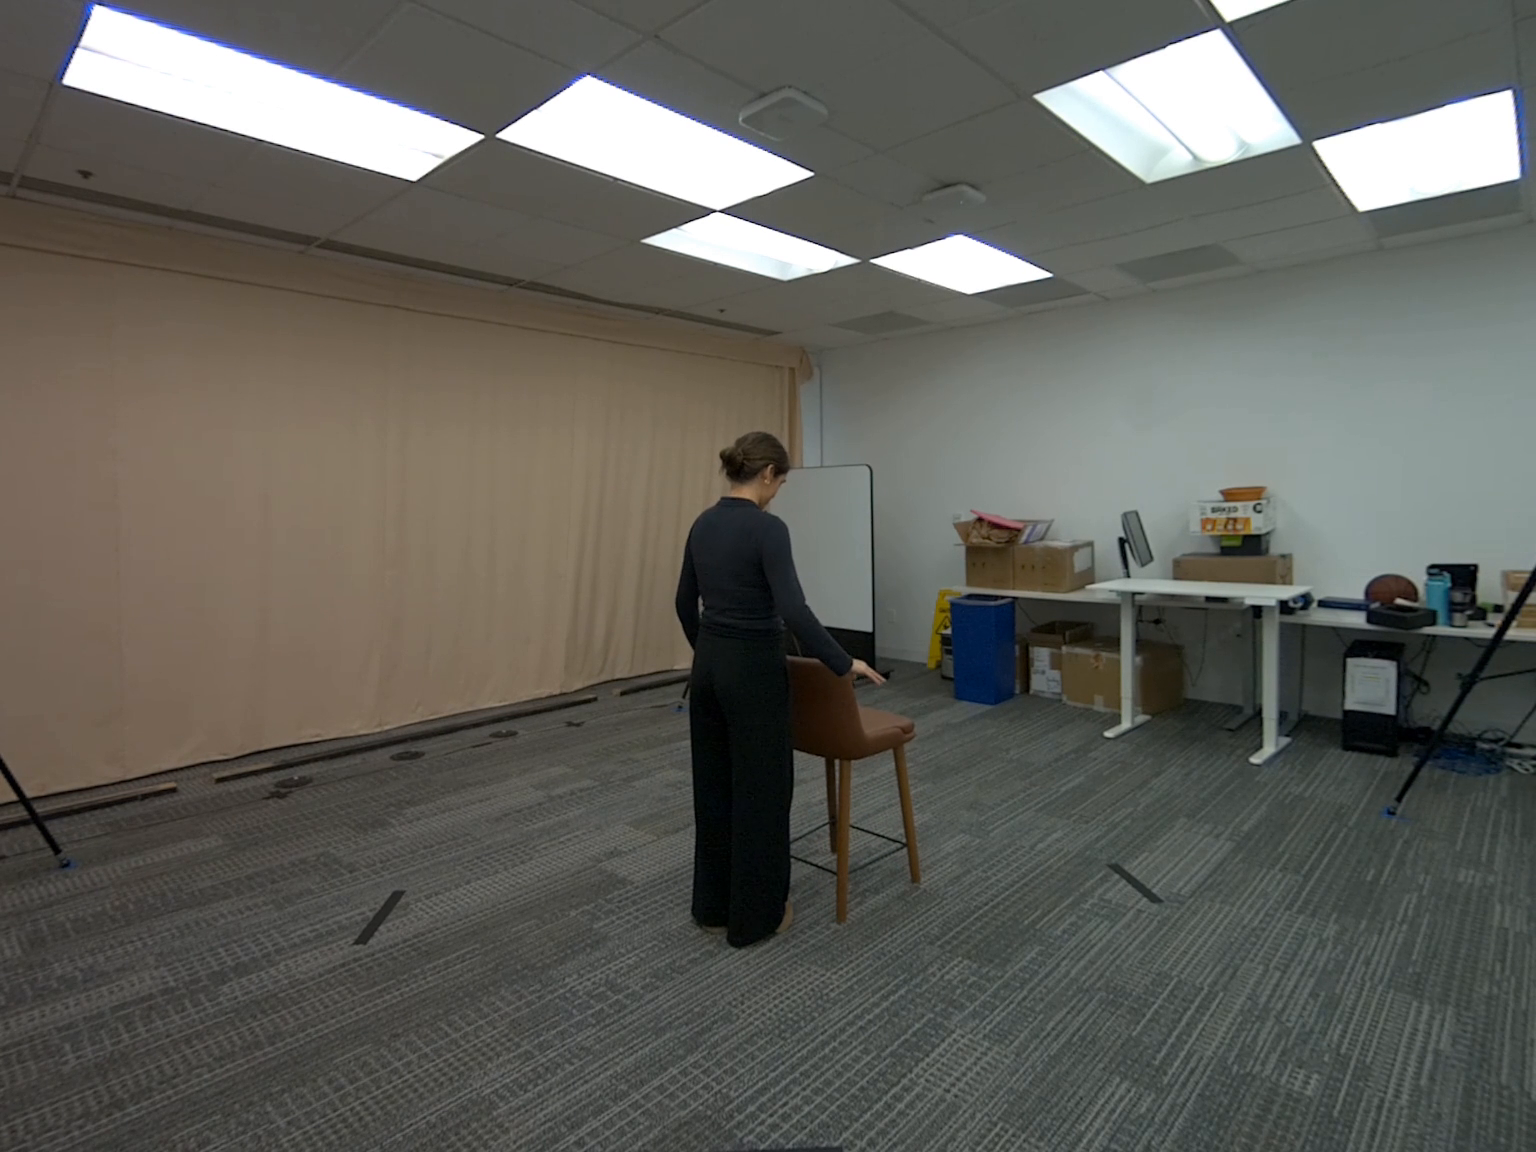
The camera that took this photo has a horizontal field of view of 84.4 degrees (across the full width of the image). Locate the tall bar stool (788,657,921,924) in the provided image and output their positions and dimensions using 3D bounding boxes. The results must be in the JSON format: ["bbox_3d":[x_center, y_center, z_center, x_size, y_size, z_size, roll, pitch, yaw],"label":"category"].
[{"bbox_3d":[0.250,0.691,3.043,0.472,0.887,0.454,2,7,45],"label":"tall bar stool"}]
